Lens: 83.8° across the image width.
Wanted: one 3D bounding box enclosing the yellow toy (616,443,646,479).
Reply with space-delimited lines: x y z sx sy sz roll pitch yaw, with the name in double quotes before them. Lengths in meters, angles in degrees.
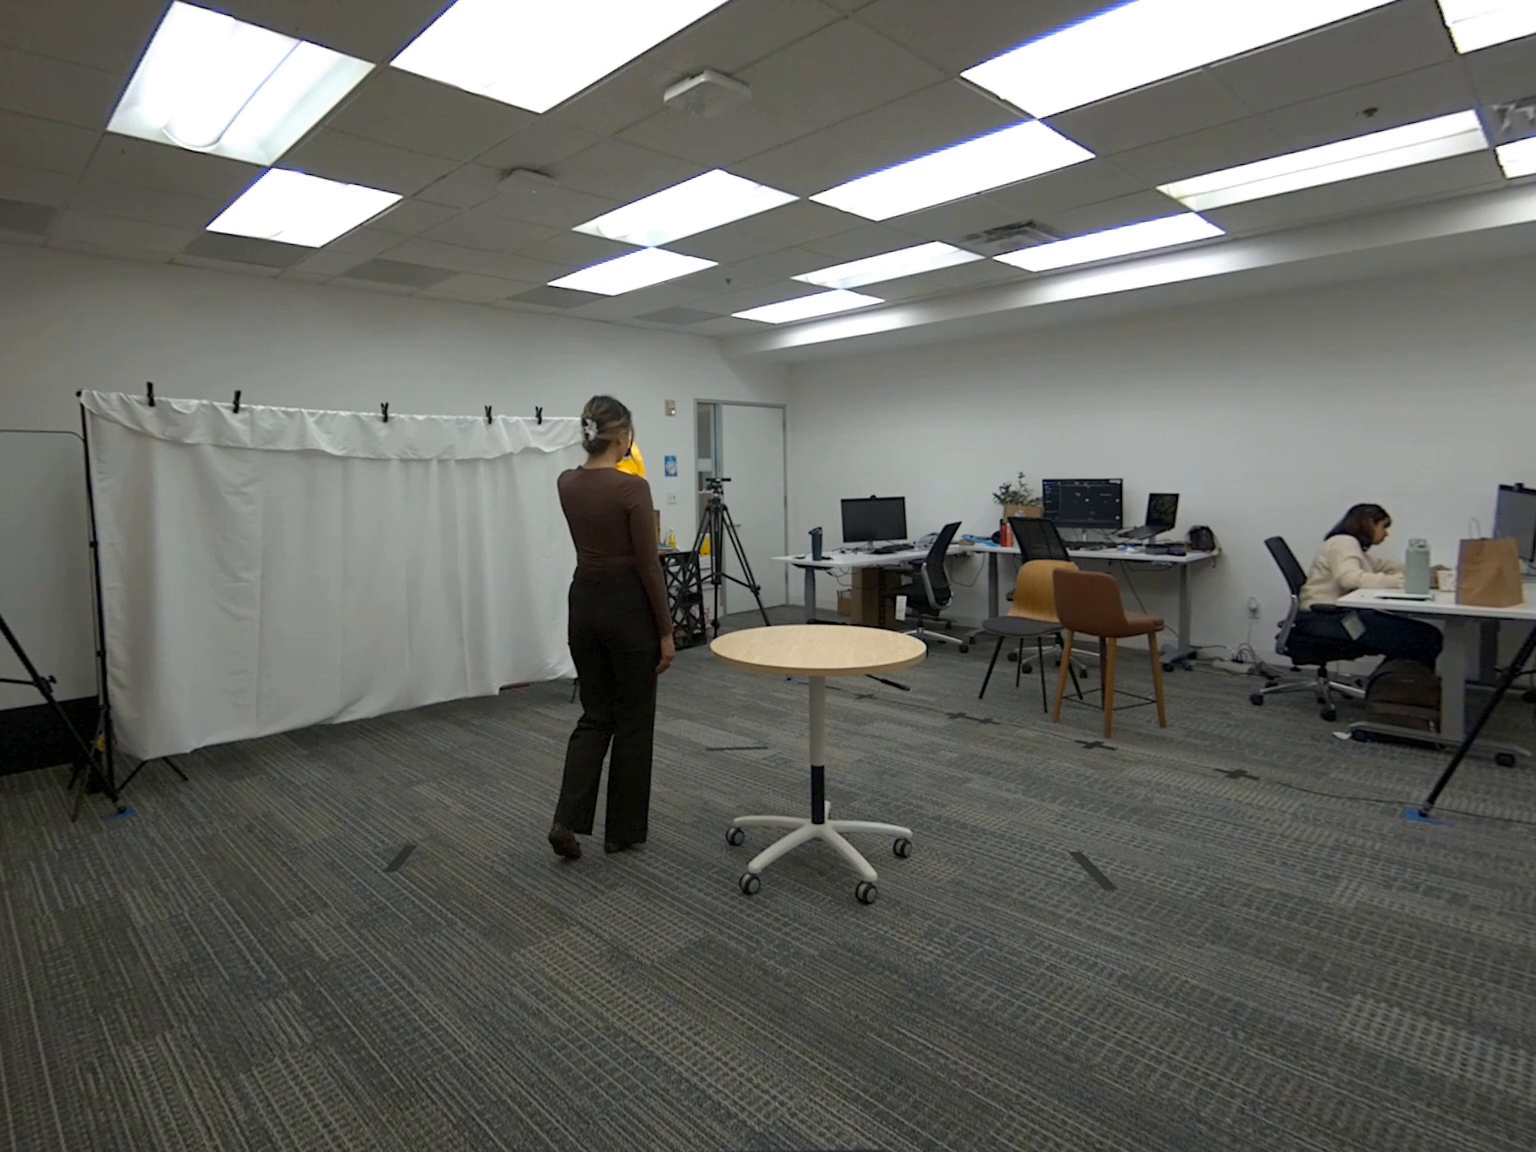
"yellow toy" -0.637 -0.553 3.894 0.196 0.229 0.203 10 7 11
